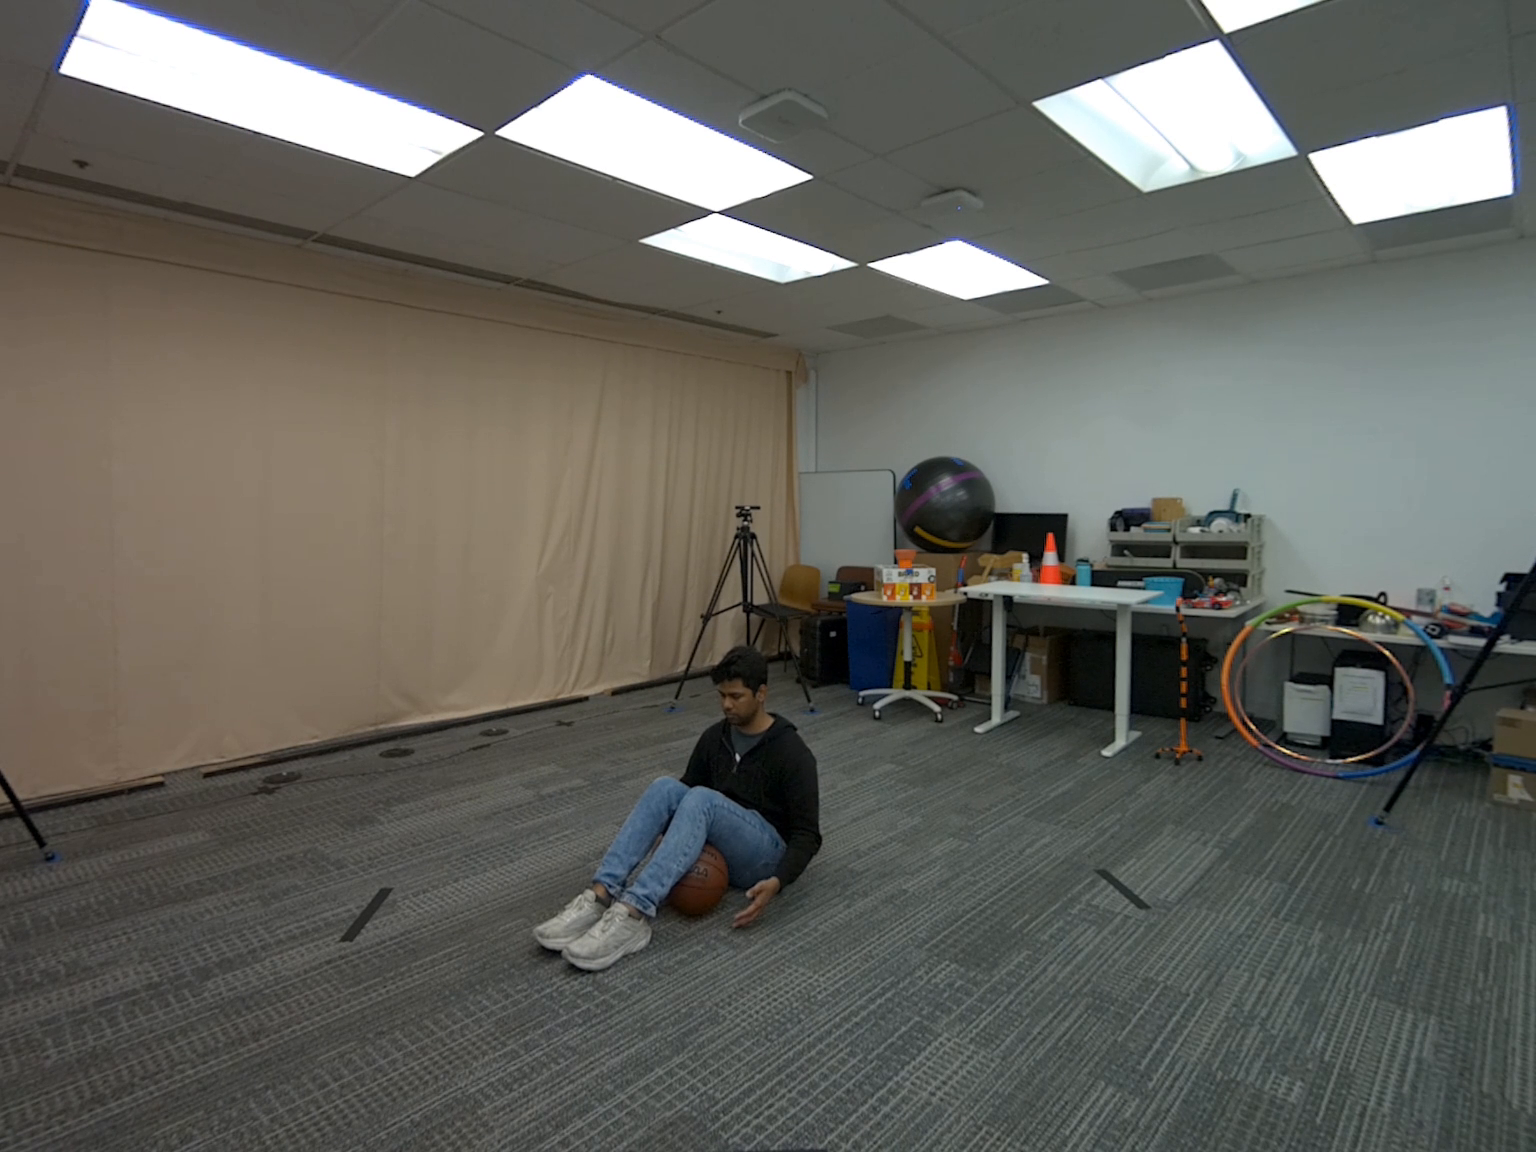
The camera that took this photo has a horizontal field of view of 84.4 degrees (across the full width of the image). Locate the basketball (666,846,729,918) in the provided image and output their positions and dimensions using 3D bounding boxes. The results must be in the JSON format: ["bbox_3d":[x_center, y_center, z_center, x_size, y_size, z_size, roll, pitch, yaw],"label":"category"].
[{"bbox_3d":[-0.253,1.023,2.879,0.236,0.235,0.237,0,4,-2],"label":"basketball"}]
